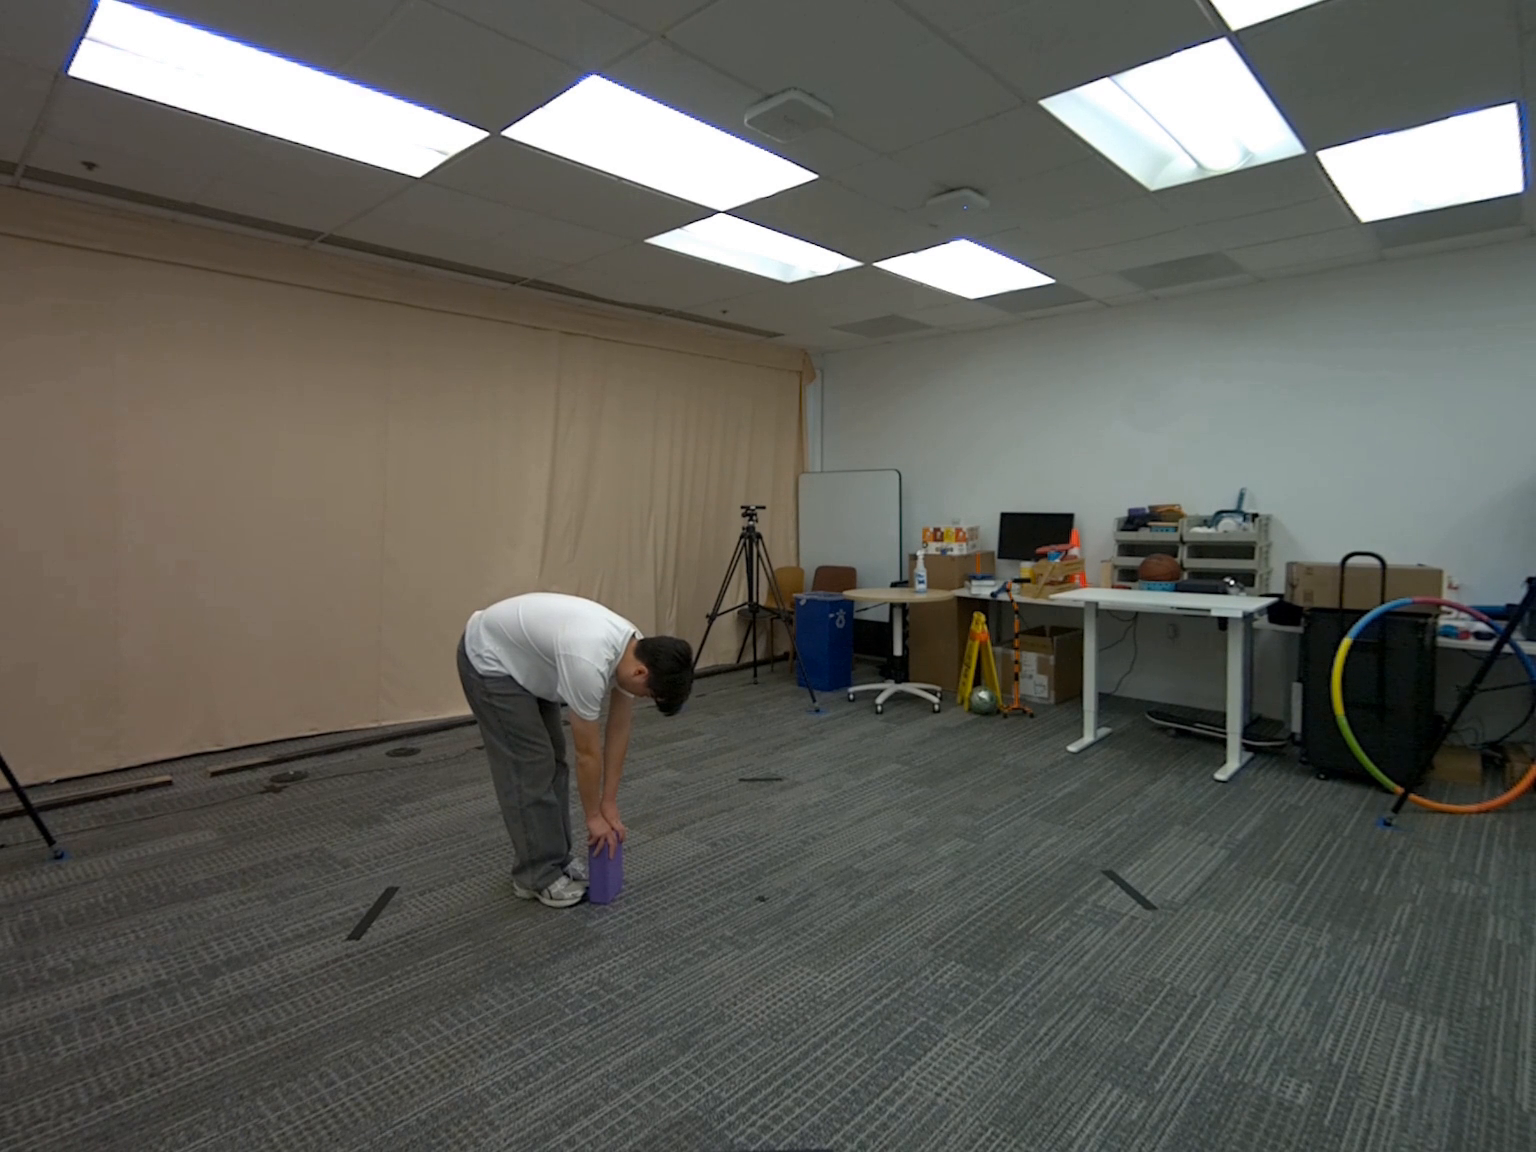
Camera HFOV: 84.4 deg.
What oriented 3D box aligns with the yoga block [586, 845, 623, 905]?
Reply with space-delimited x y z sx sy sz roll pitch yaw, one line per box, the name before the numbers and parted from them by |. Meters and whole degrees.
yoga block | -0.573 1.045 3.000 0.077 0.229 0.148 -1 5 7
